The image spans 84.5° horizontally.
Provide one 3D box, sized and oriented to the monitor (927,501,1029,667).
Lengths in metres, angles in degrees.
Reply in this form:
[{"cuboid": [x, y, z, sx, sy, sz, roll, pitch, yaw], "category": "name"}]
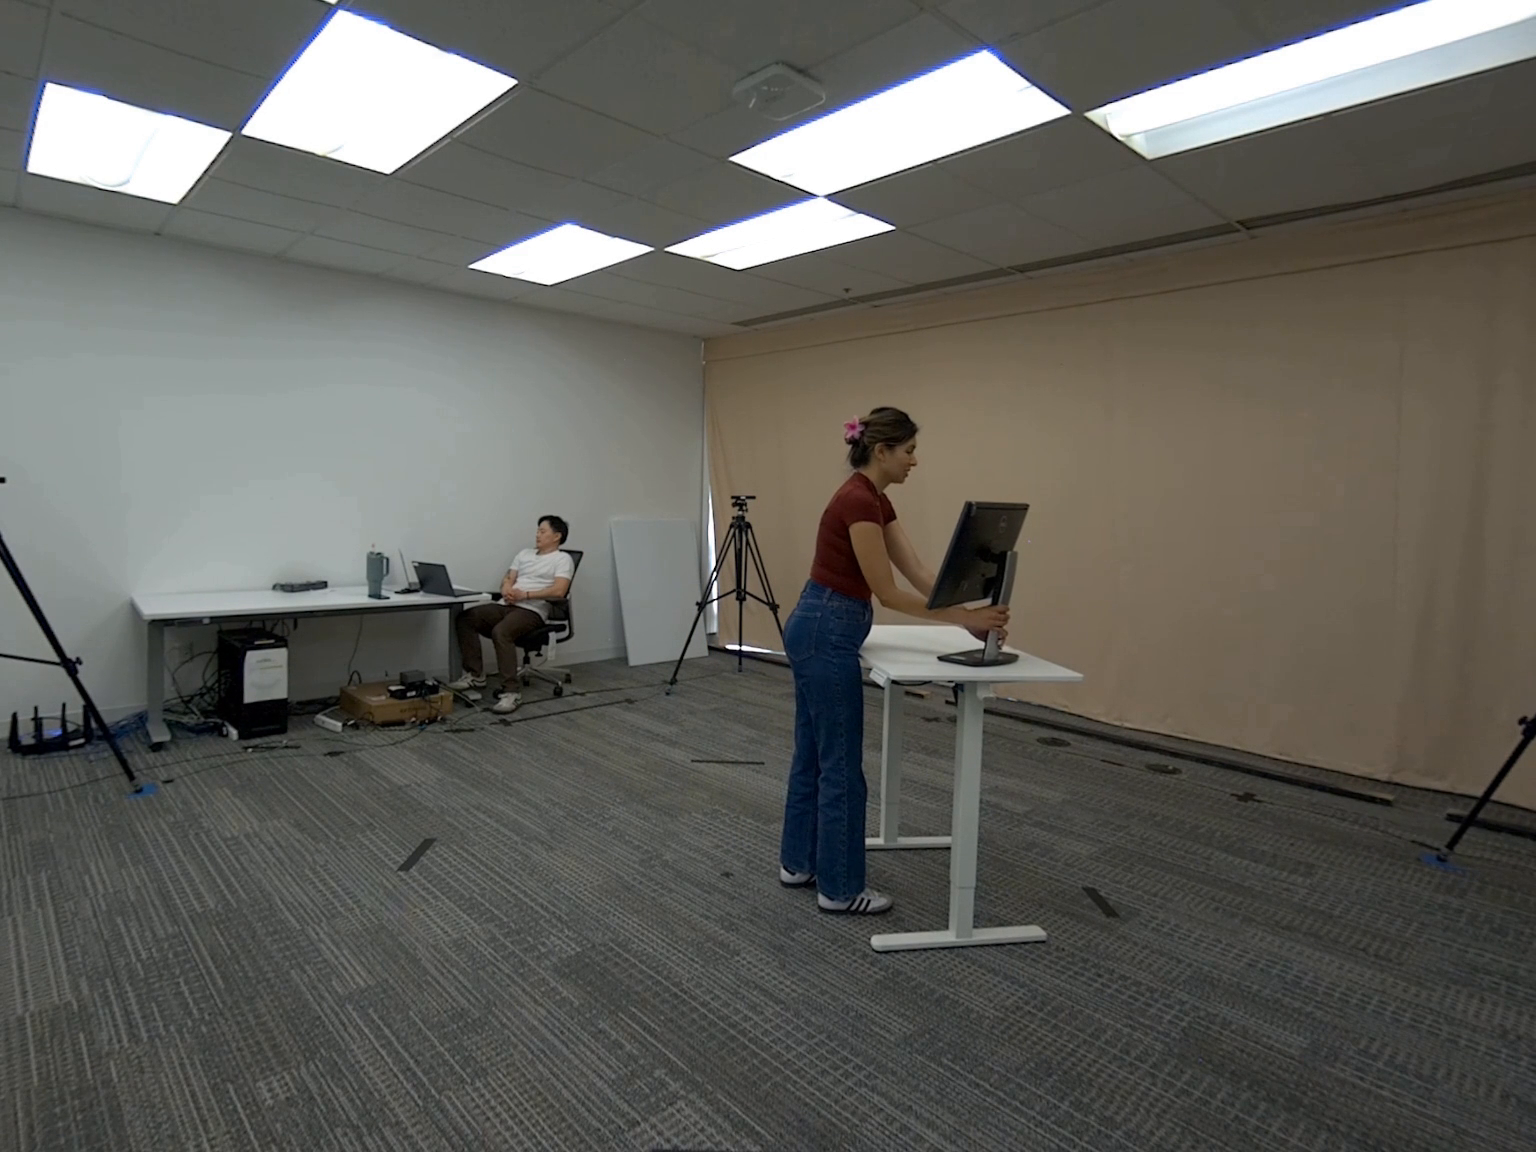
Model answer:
[{"cuboid": [0.706, 0.021, 2.716, 0.192, 0.521, 0.528, 8, 7, 34], "category": "monitor"}]
